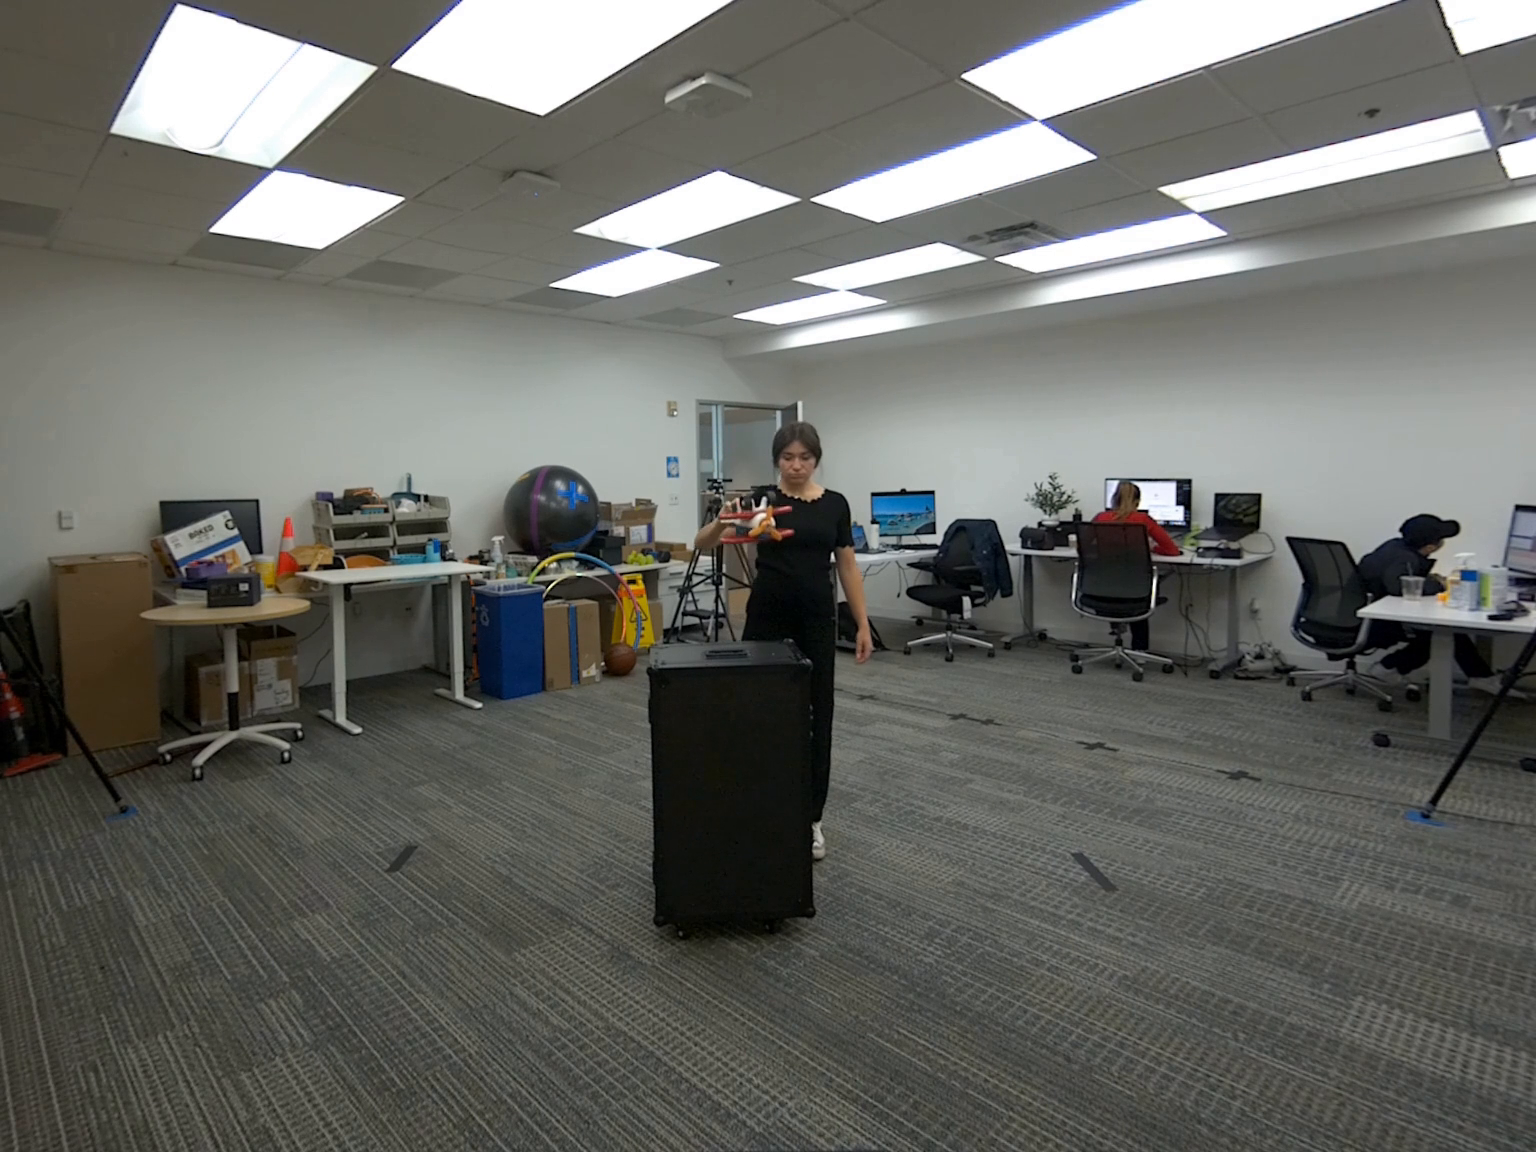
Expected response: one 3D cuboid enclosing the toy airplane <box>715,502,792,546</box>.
[{"bbox_3d":[-0.048,-0.188,2.849,0.252,0.157,0.256,-9,-4,5],"label":"toy airplane"}]
